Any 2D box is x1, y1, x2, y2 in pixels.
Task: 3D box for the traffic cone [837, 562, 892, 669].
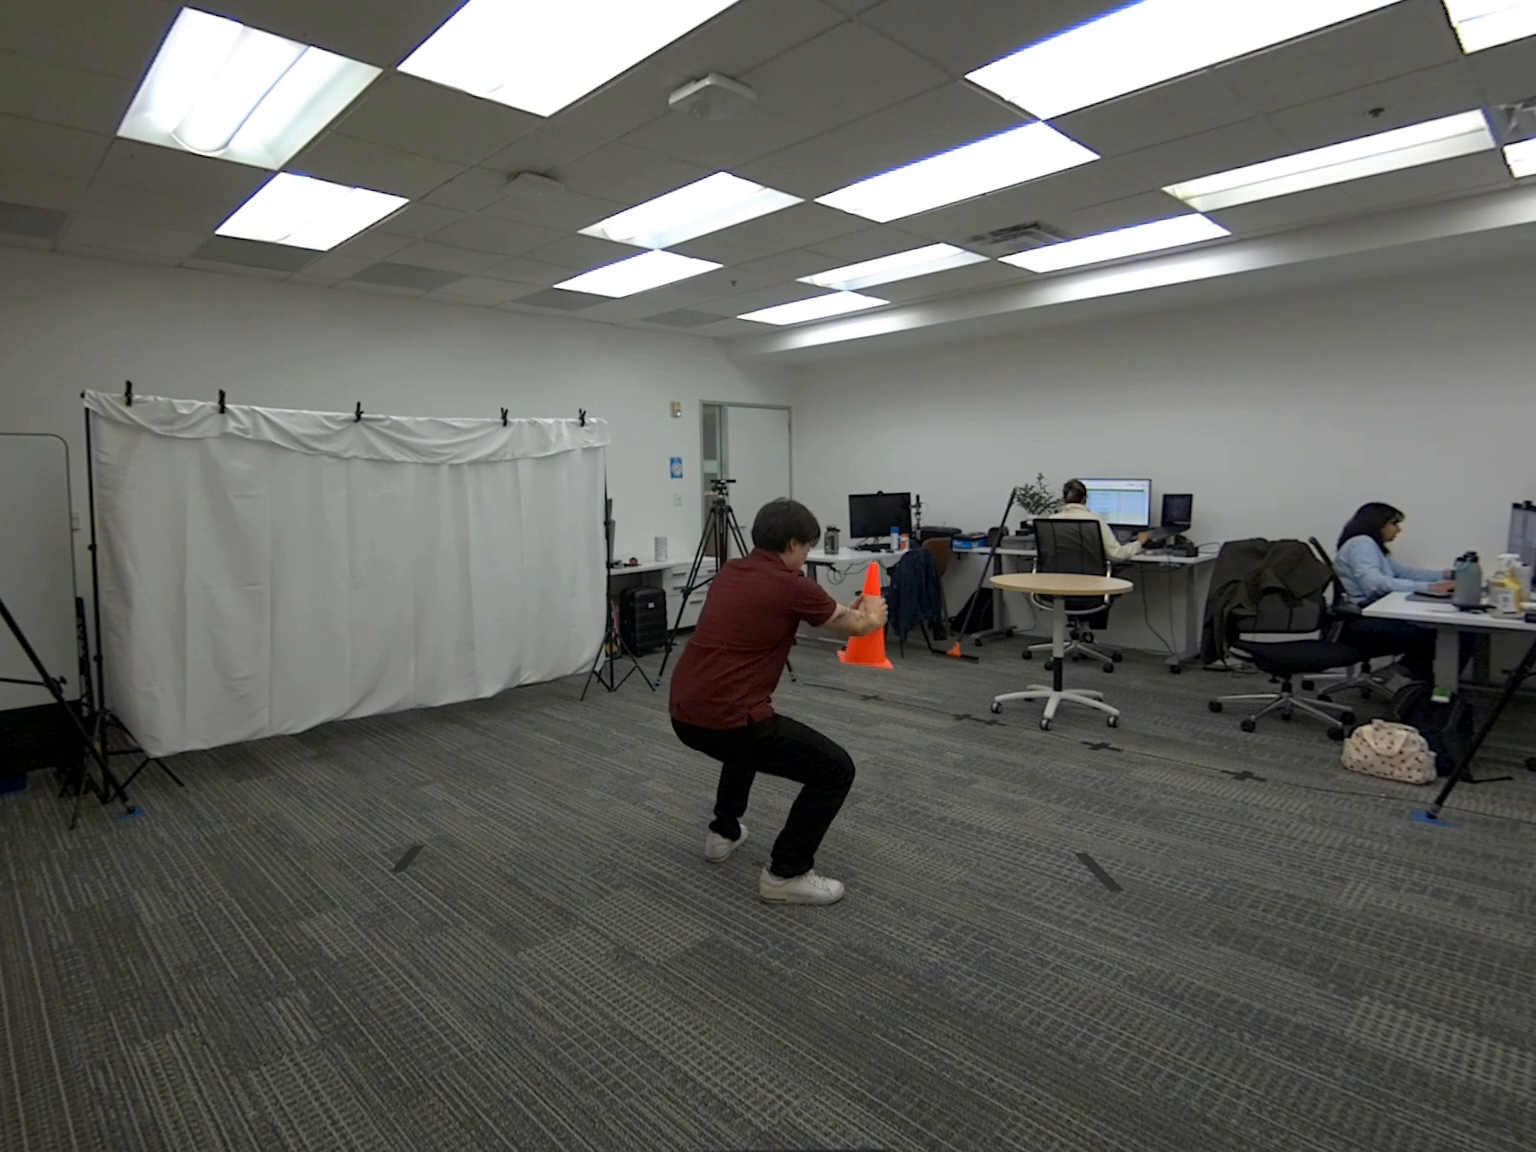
[{"bbox_3d":[0.392,0.142,3.314,0.206,0.382,0.203,3,3,3],"label":"traffic cone"}]
